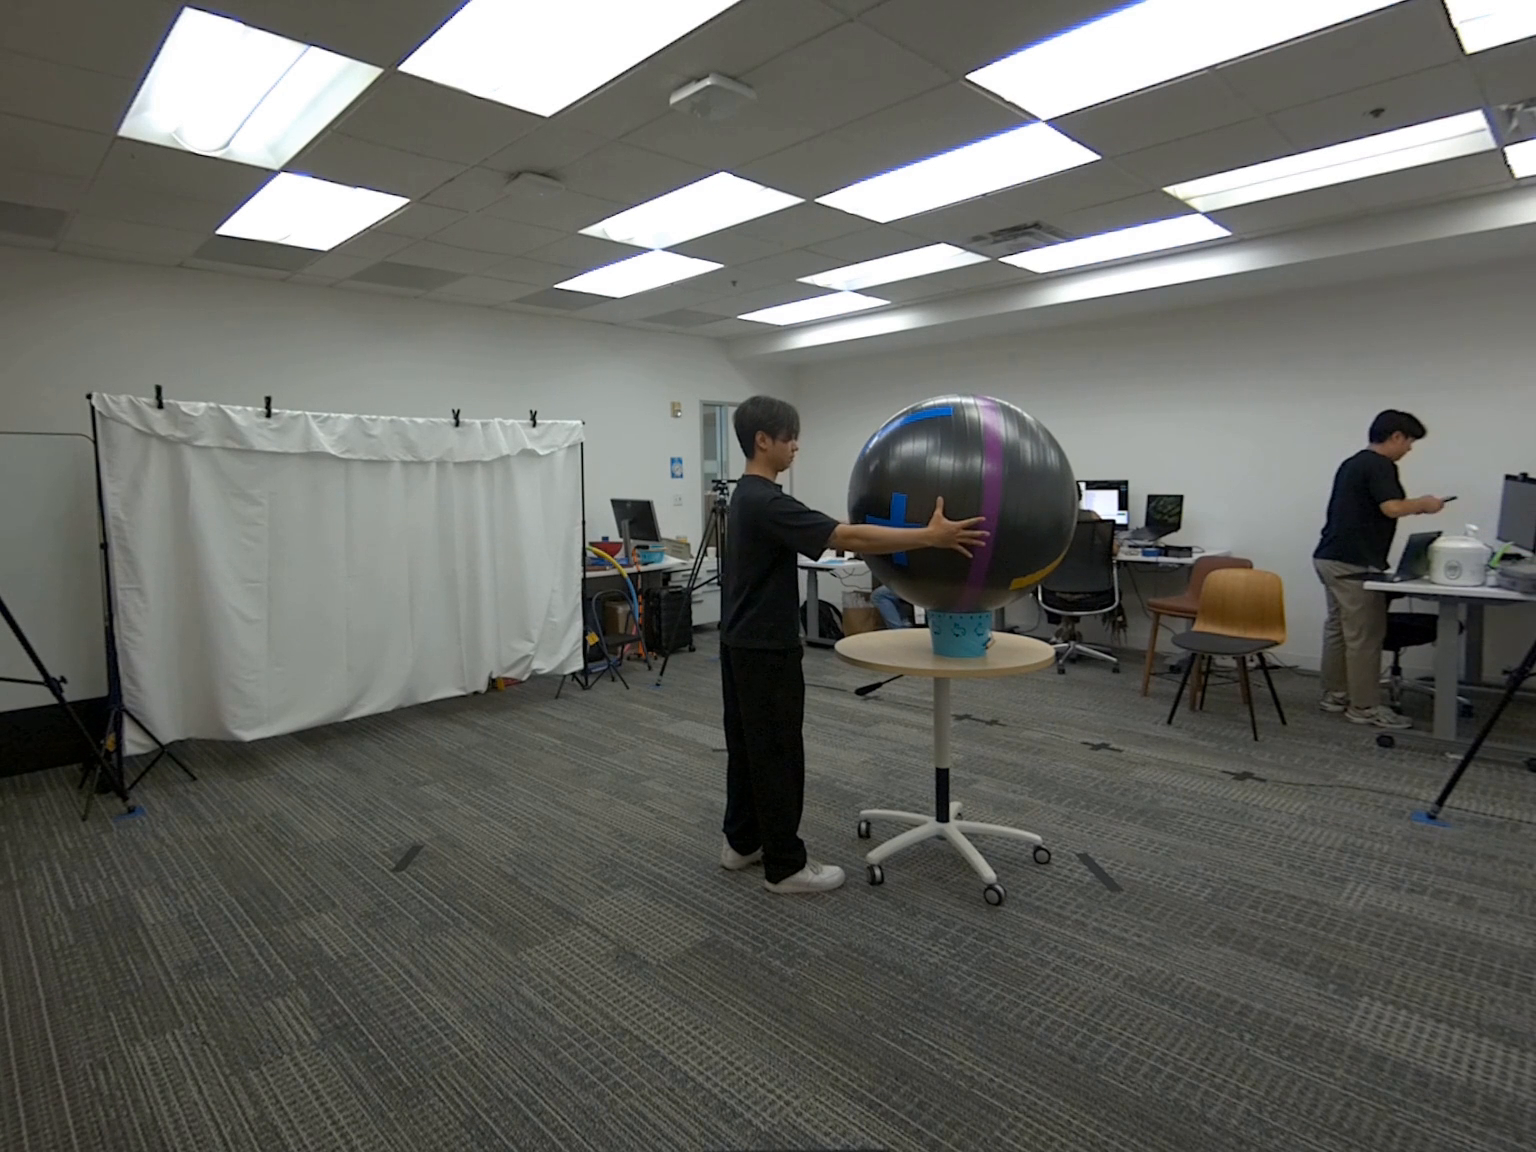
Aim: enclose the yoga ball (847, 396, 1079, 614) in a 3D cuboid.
[{"bbox_3d":[0.668,-0.244,2.957,0.757,0.755,0.762,-1,5,-2],"label":"yoga ball"}]
